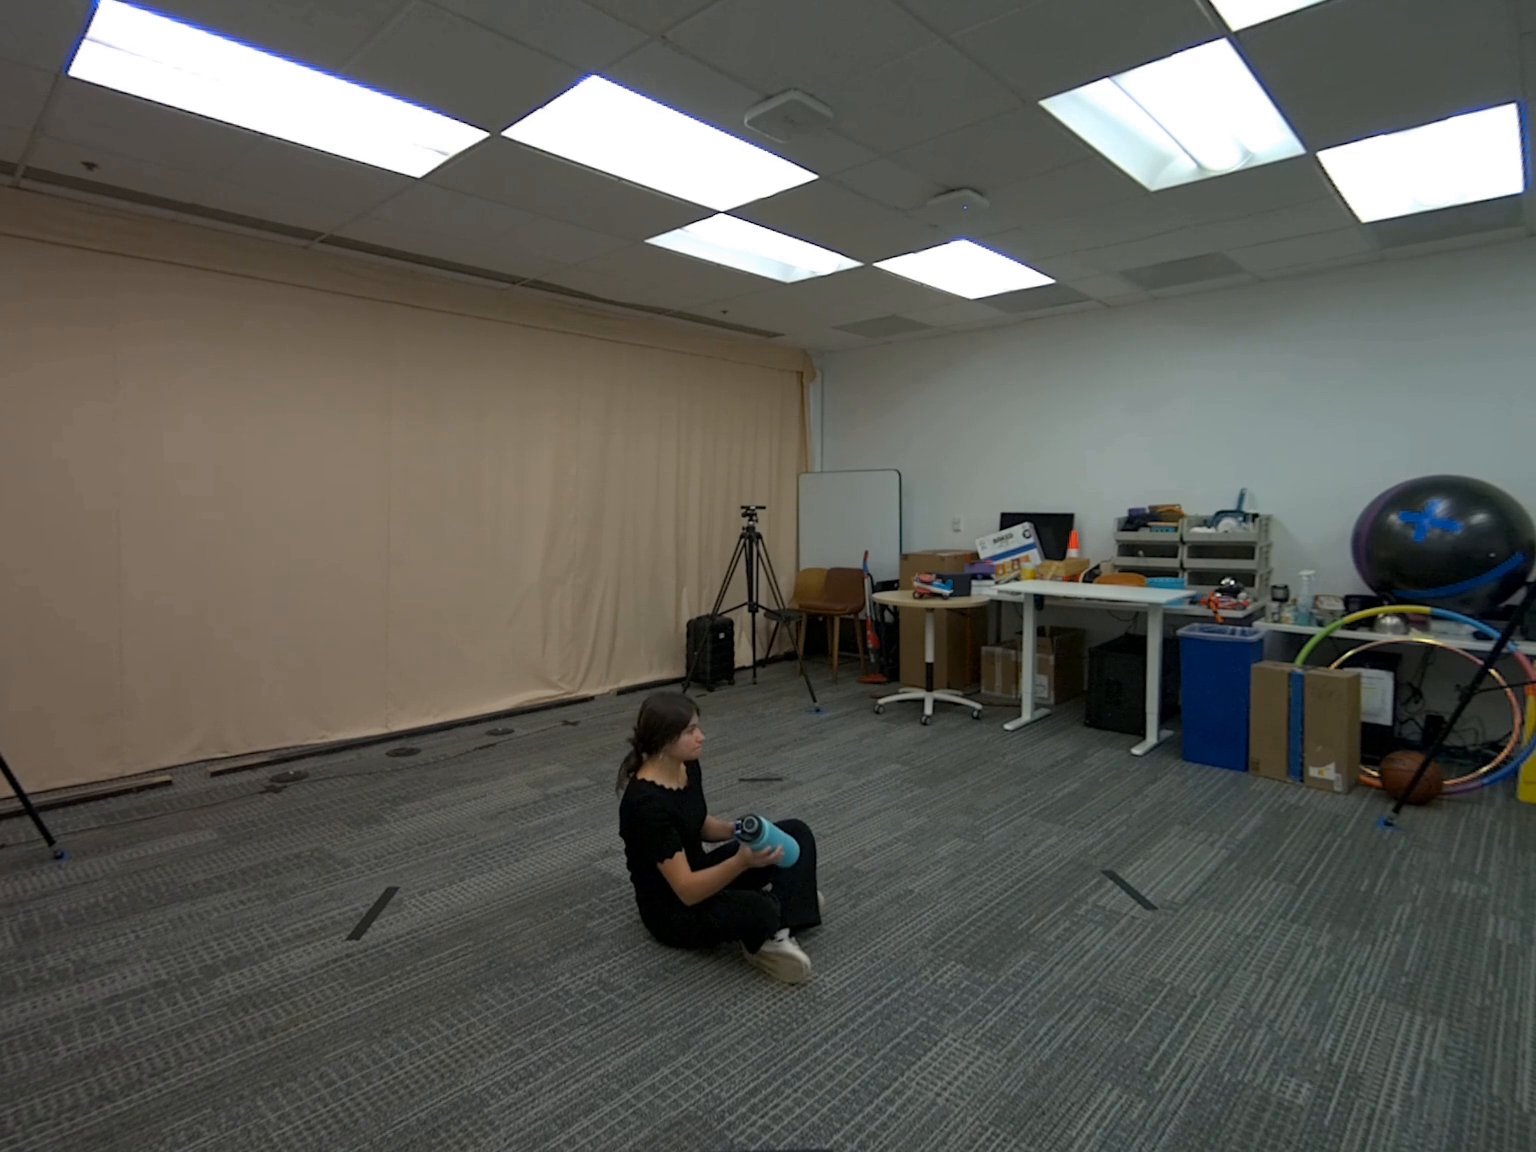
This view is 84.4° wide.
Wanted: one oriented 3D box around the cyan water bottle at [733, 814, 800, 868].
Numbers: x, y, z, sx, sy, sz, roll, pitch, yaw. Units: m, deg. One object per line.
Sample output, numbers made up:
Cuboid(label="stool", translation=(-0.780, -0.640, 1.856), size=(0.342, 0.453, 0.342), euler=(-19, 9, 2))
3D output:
Cuboid(label="cyan water bottle", translation=(-0.001, 0.762, 2.404), size=(0.095, 0.093, 0.273), euler=(3, -31, 32))
